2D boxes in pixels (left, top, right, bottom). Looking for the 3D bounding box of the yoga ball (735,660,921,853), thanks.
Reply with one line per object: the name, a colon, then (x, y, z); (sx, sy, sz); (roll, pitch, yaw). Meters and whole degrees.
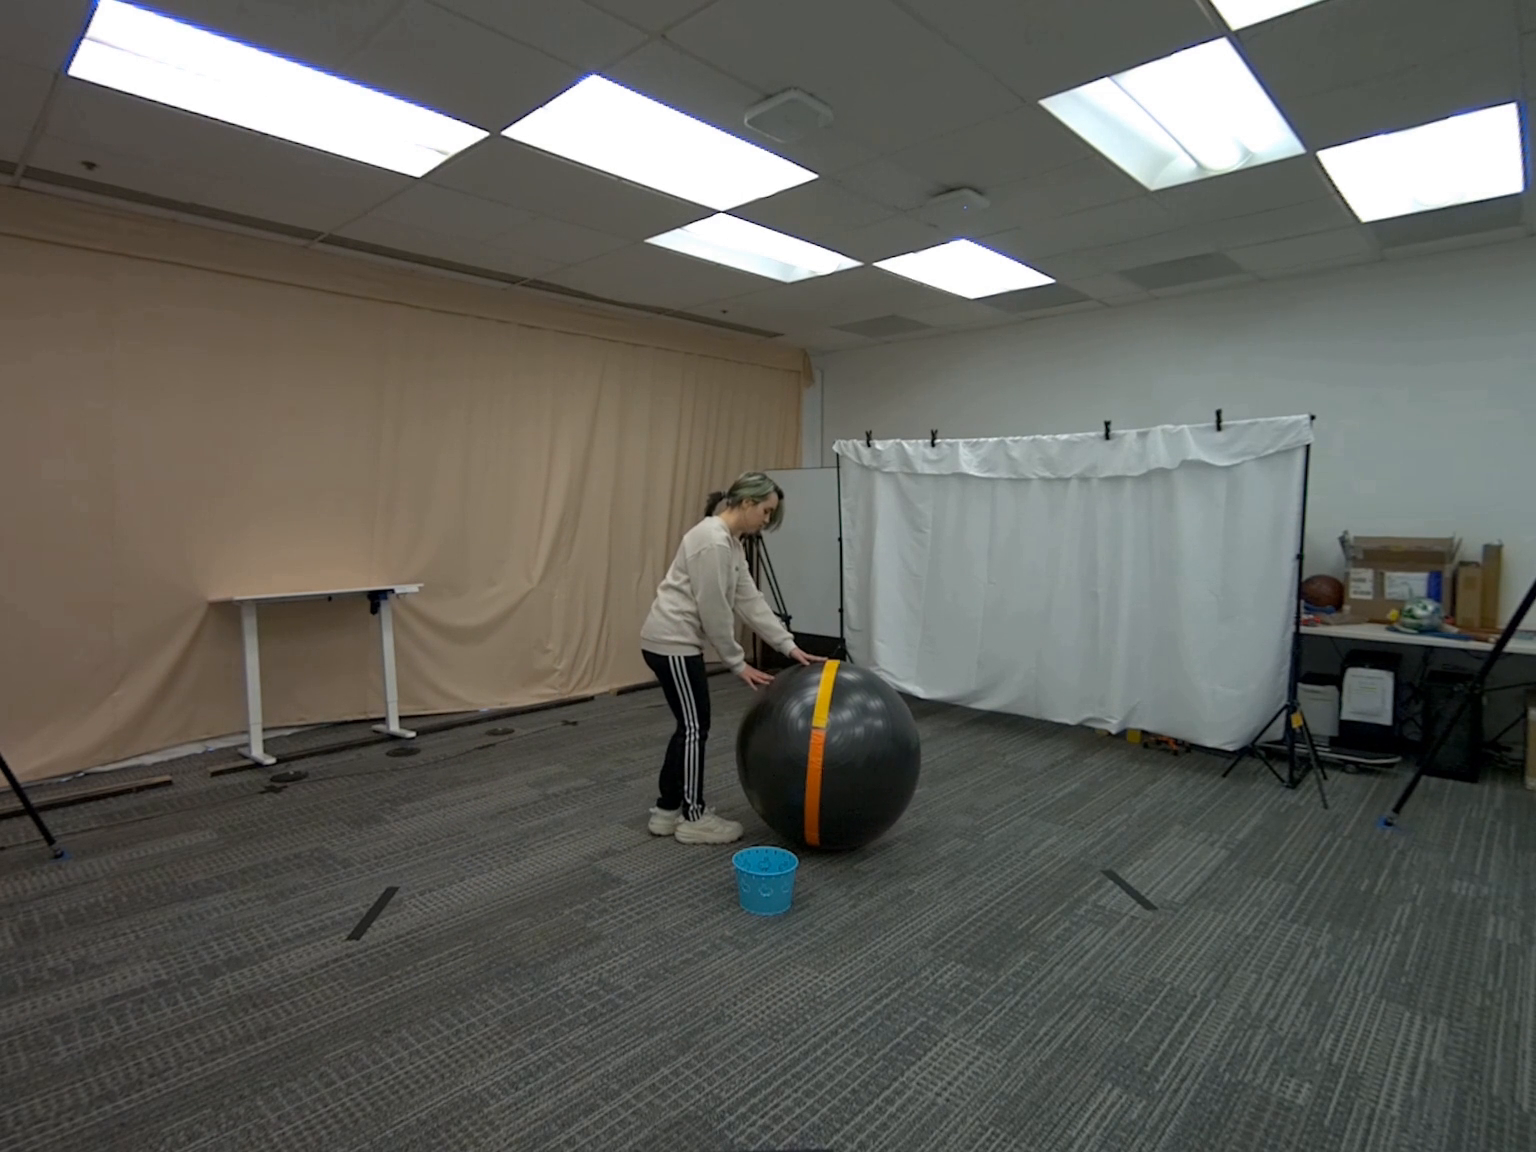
yoga ball: (0.256, 0.737, 3.479); (0.757, 0.756, 0.760); (0, 4, -2)
